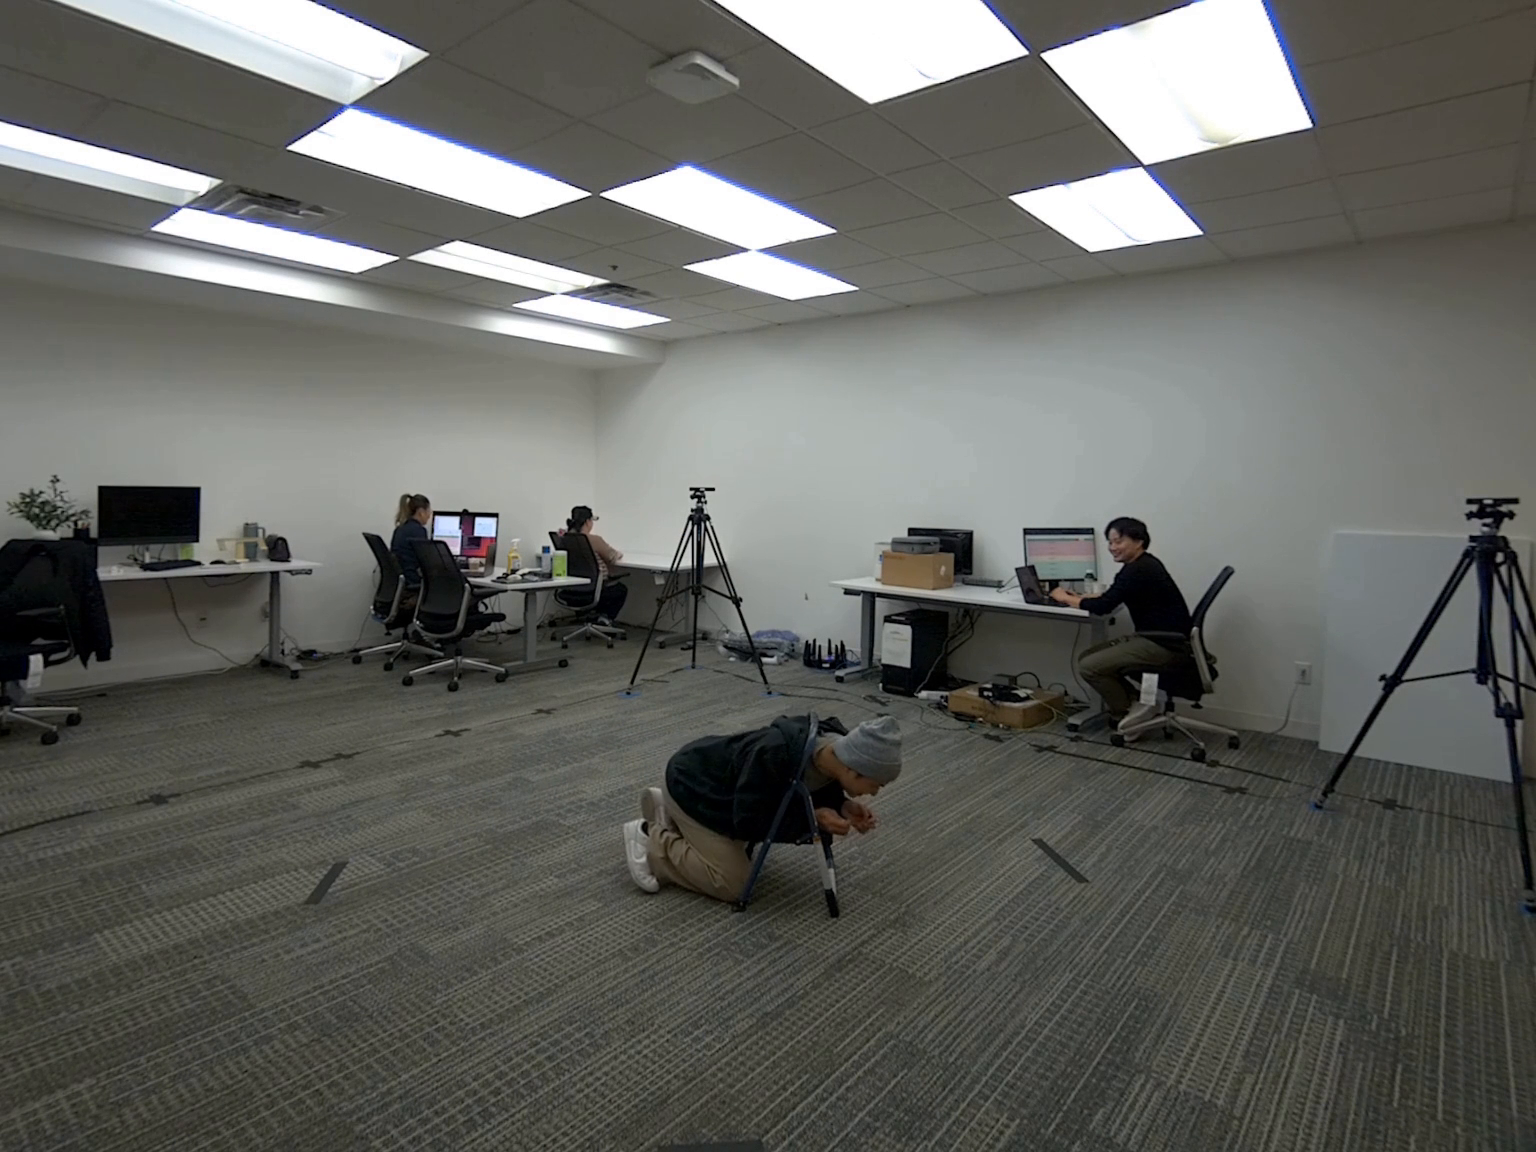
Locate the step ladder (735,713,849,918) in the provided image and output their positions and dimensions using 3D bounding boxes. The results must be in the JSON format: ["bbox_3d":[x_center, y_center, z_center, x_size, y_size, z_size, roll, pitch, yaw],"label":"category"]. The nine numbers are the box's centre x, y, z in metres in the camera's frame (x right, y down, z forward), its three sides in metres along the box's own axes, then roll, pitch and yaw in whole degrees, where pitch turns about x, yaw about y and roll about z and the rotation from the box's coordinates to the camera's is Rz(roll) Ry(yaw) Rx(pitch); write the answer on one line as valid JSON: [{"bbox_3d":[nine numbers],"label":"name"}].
[{"bbox_3d":[0.079,0.793,2.970,0.351,0.605,0.430,2,3,3],"label":"step ladder"}]
